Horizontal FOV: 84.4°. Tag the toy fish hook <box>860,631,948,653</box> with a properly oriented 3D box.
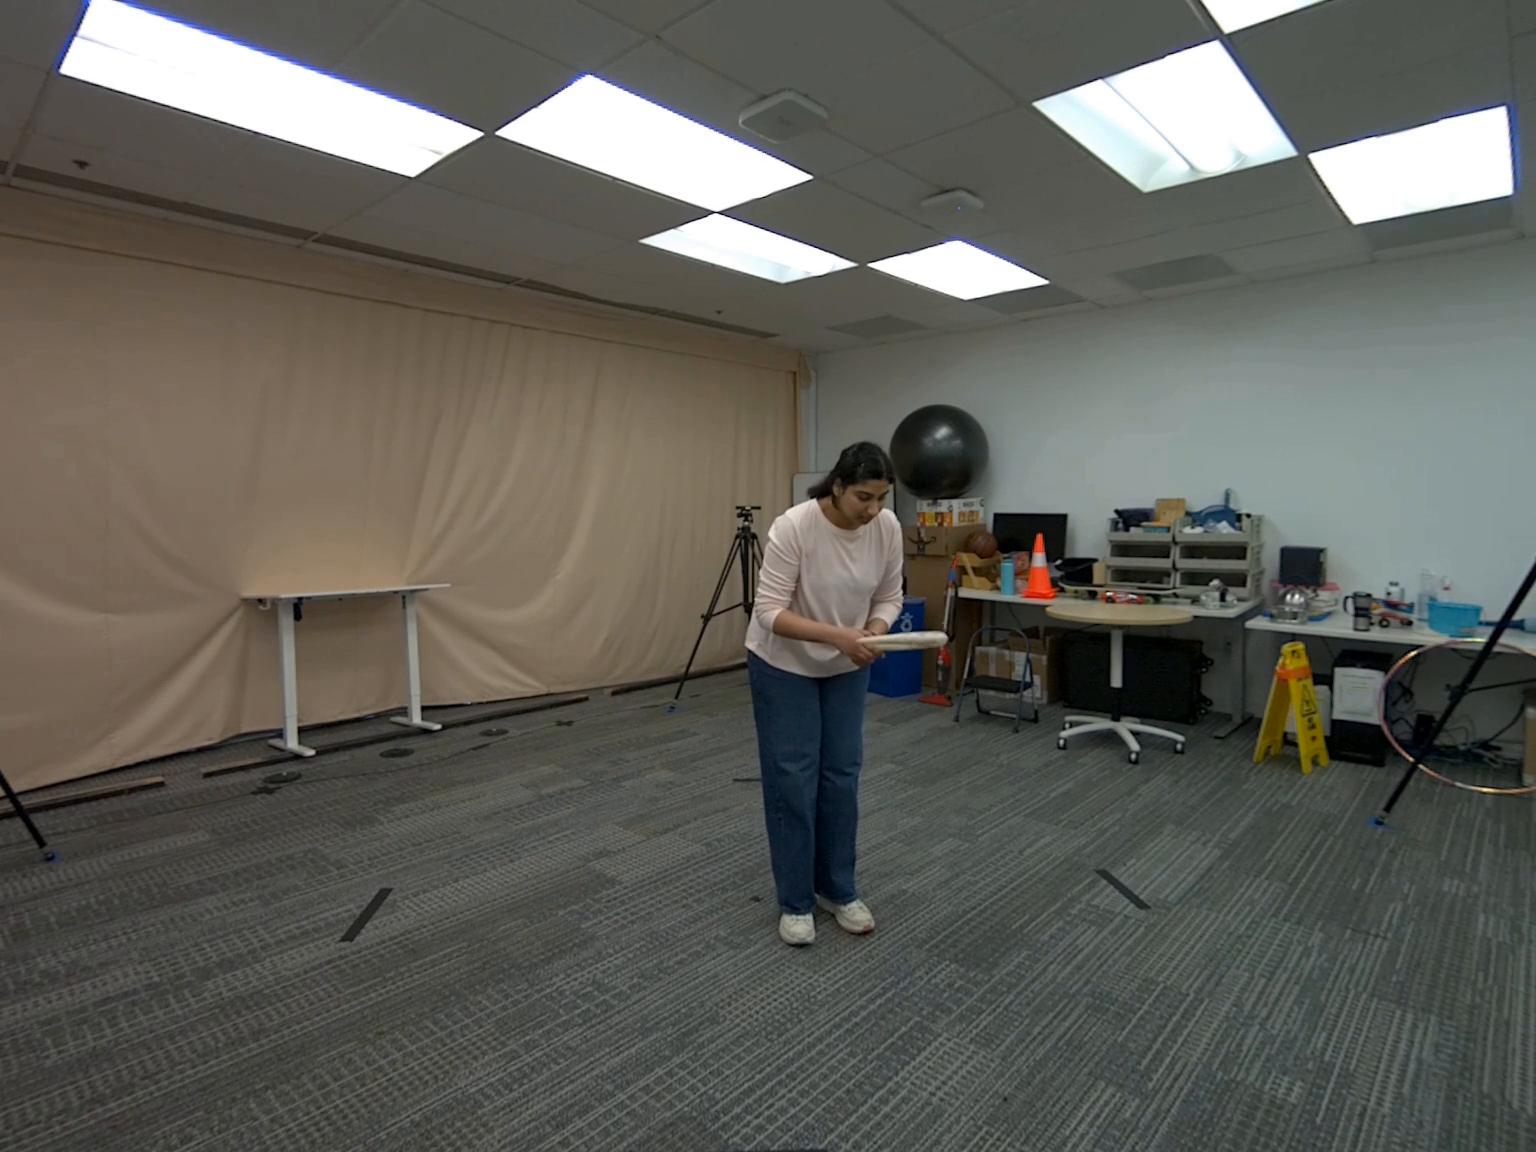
[{"bbox_3d":[0.308,0.194,2.395,0.220,0.048,0.514,8,-11,-20],"label":"toy fish hook"}]
